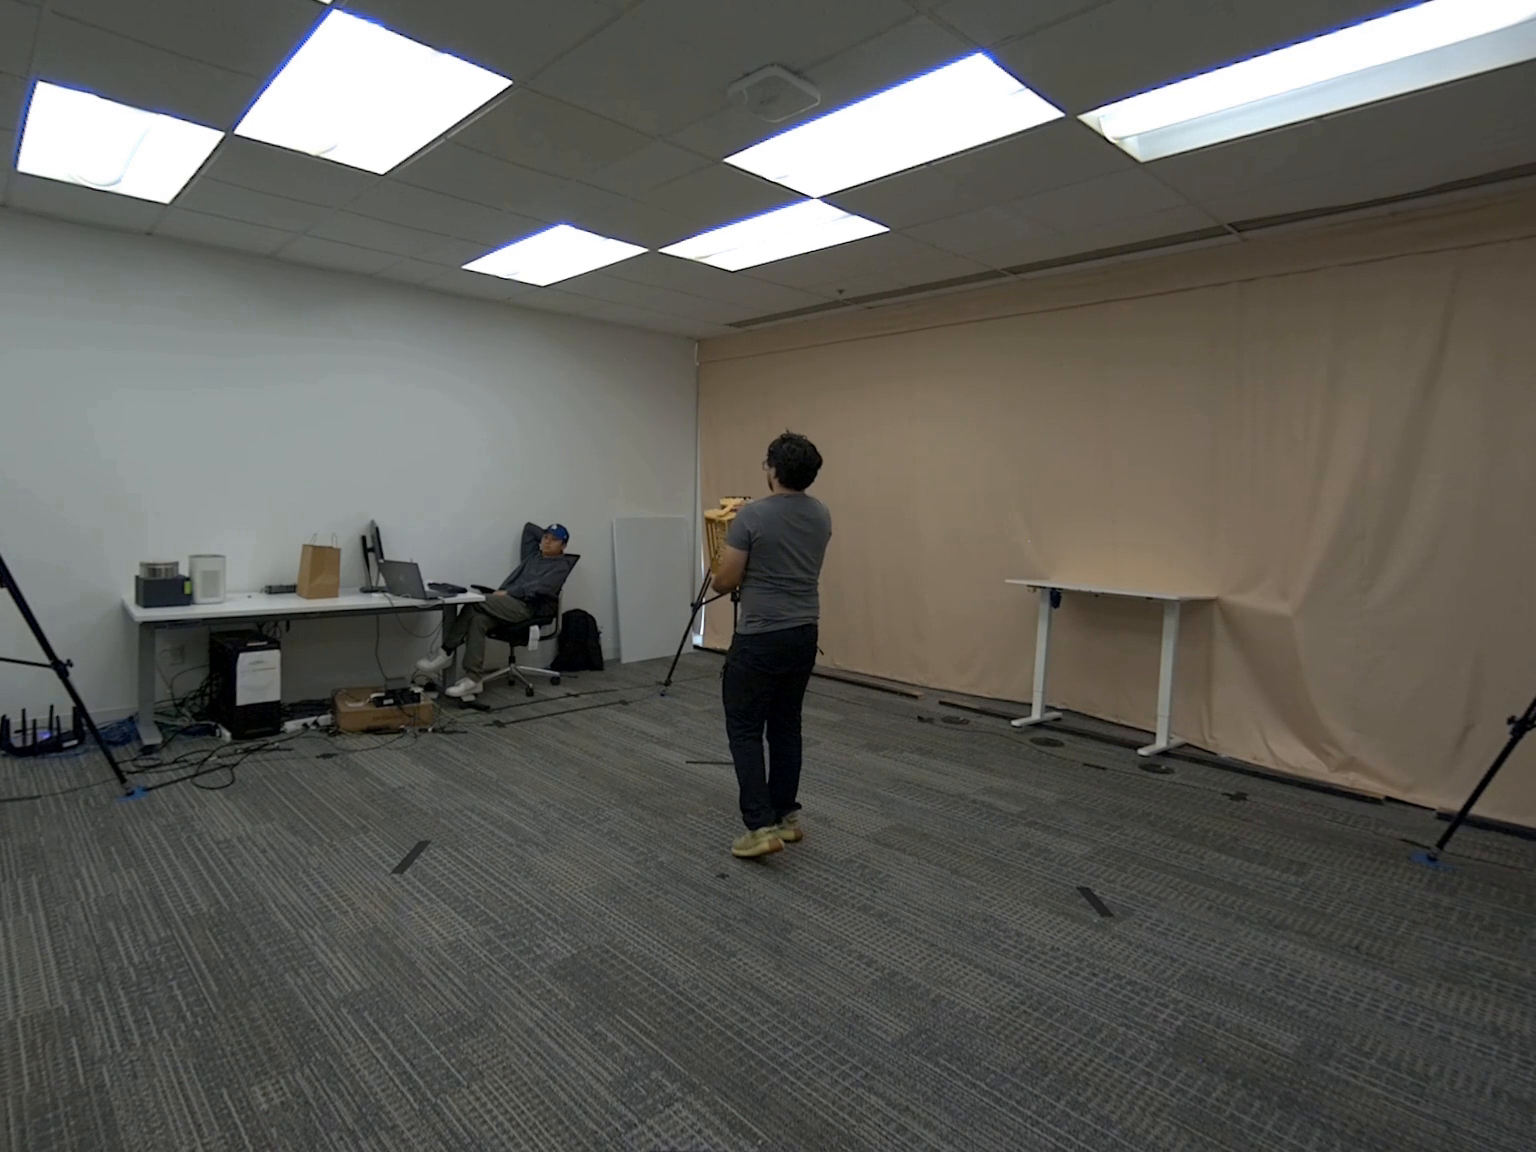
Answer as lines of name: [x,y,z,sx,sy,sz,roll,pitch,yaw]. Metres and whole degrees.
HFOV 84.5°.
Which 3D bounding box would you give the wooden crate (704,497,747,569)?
wooden crate: [-0.170,-0.151,3.727,0.269,0.320,0.310,-19,21,-37]
